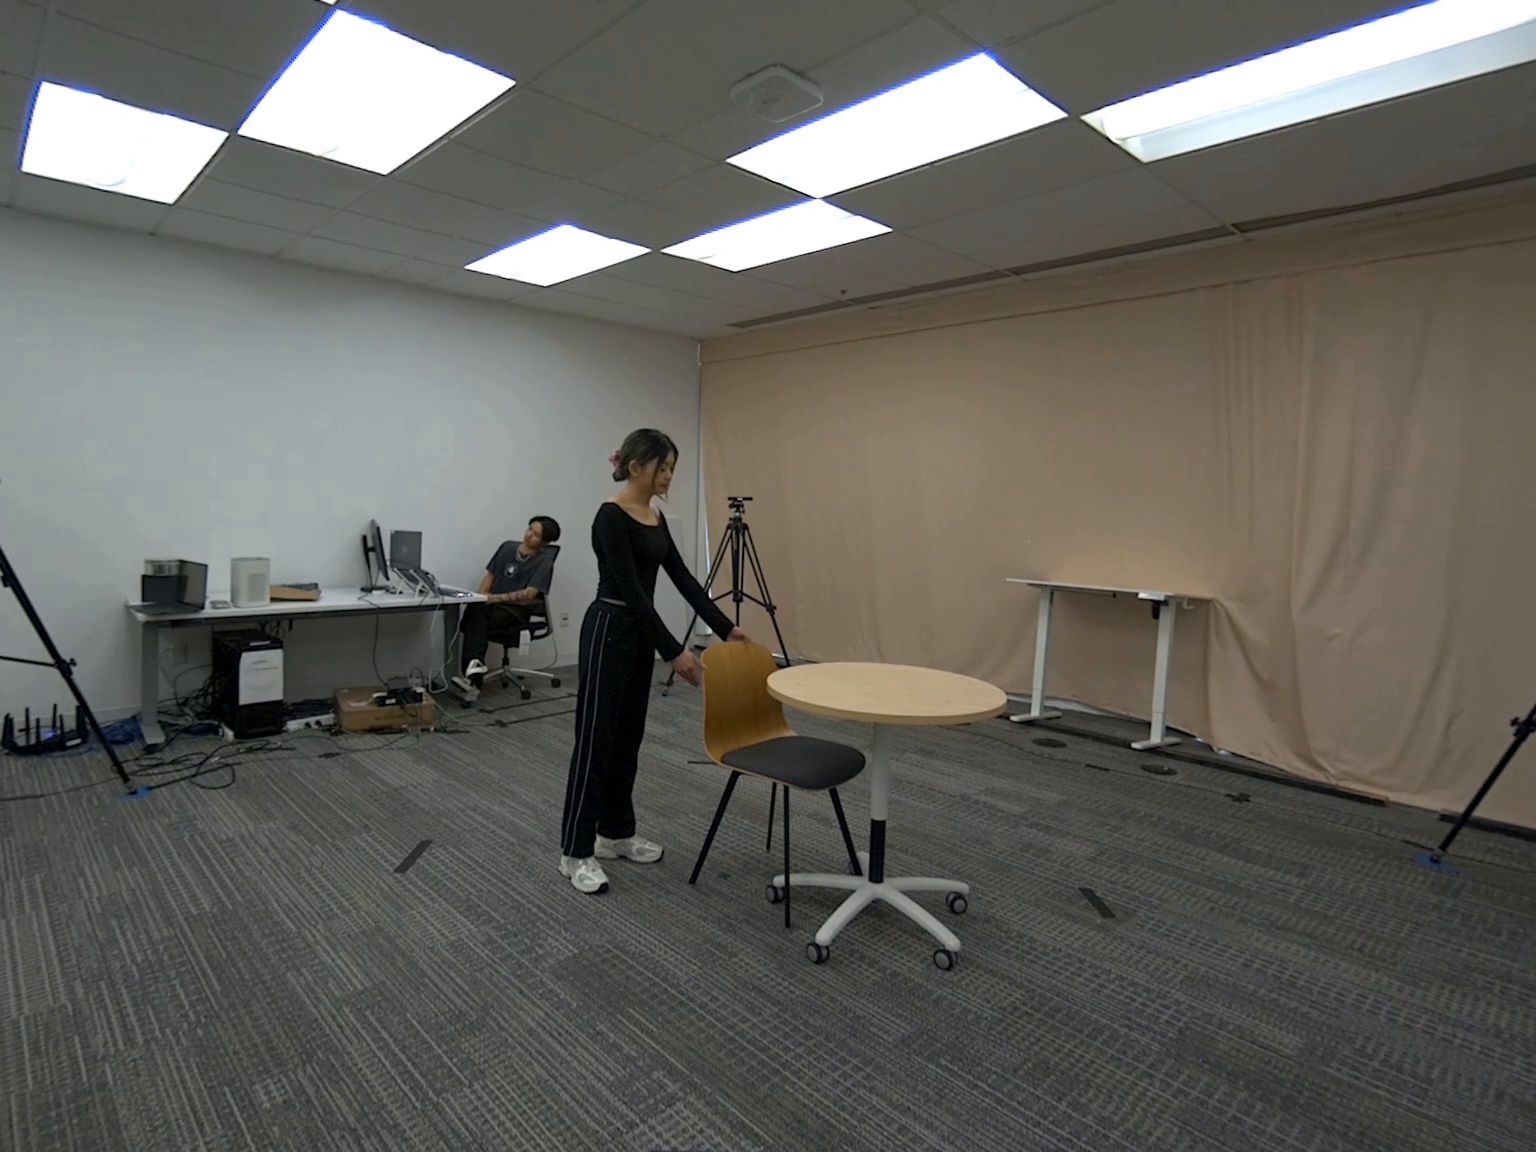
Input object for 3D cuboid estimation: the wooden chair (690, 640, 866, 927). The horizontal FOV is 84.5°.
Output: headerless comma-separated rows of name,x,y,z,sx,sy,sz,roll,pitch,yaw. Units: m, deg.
wooden chair,0.043,0.689,3.017,0.535,0.878,0.467,-2,0,41
